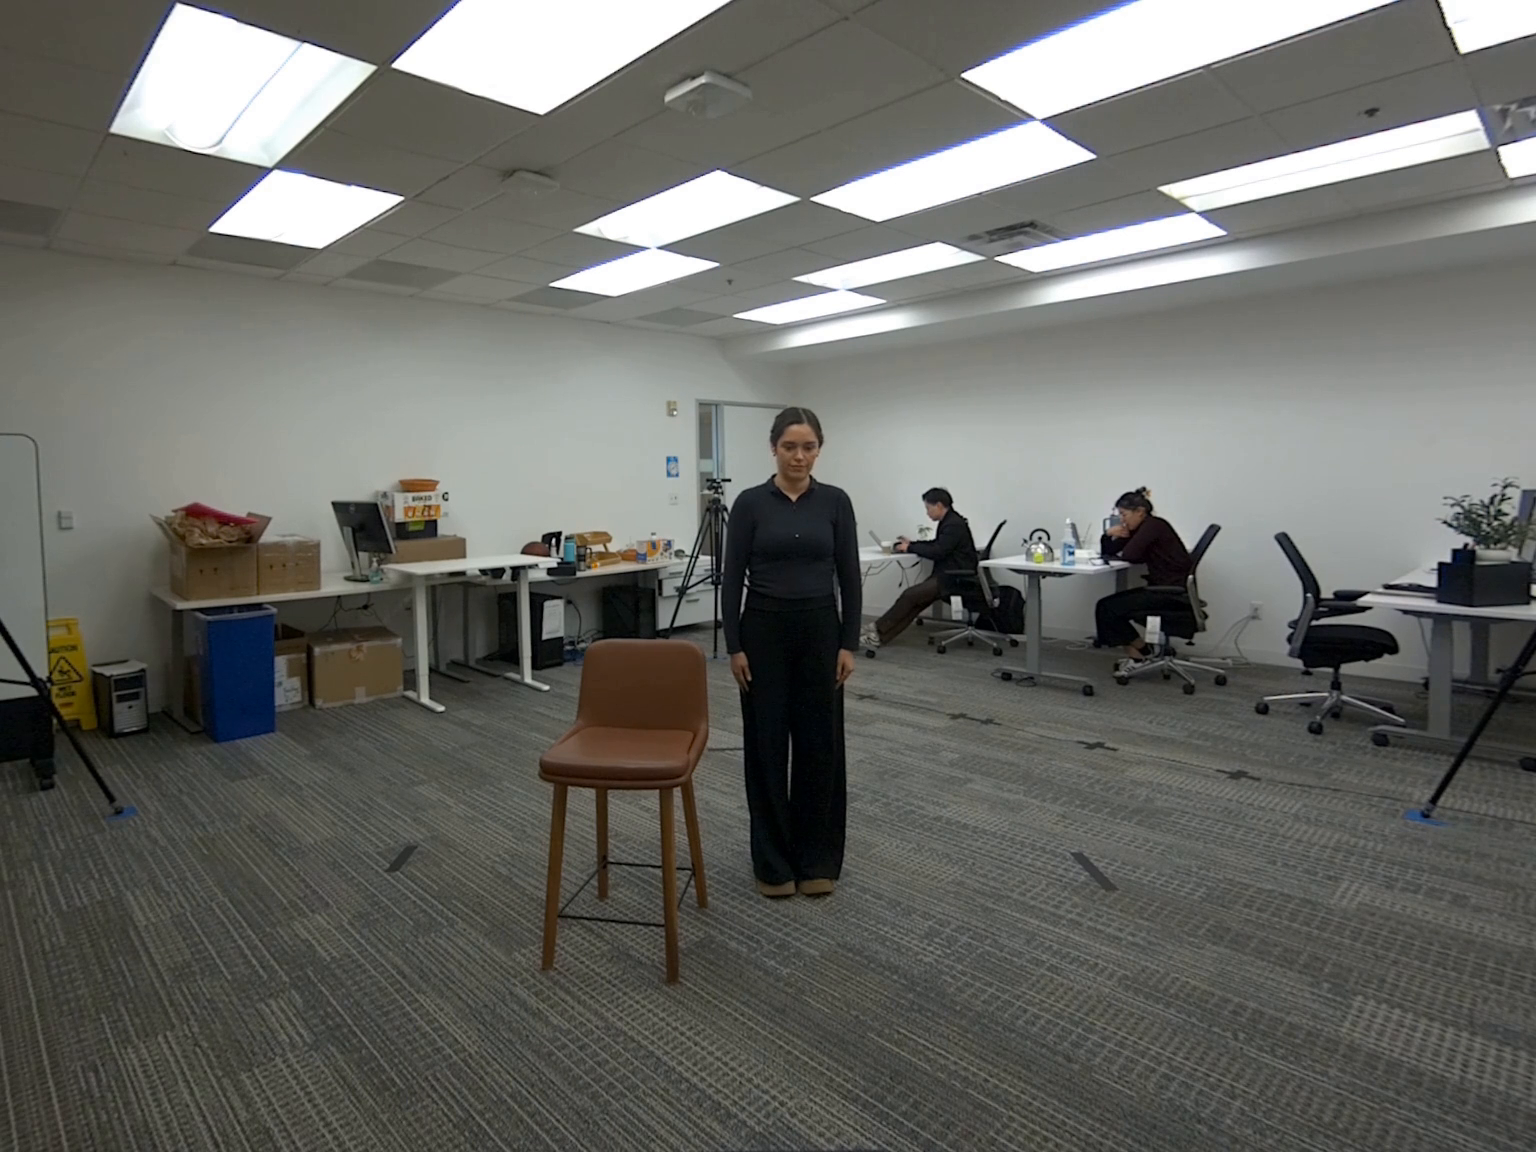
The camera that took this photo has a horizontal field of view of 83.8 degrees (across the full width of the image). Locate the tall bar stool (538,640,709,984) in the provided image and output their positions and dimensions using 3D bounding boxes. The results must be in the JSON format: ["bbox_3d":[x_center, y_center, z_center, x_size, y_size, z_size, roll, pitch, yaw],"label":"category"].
[{"bbox_3d":[-0.420,0.677,2.606,0.462,0.887,0.463,0,3,12],"label":"tall bar stool"}]
